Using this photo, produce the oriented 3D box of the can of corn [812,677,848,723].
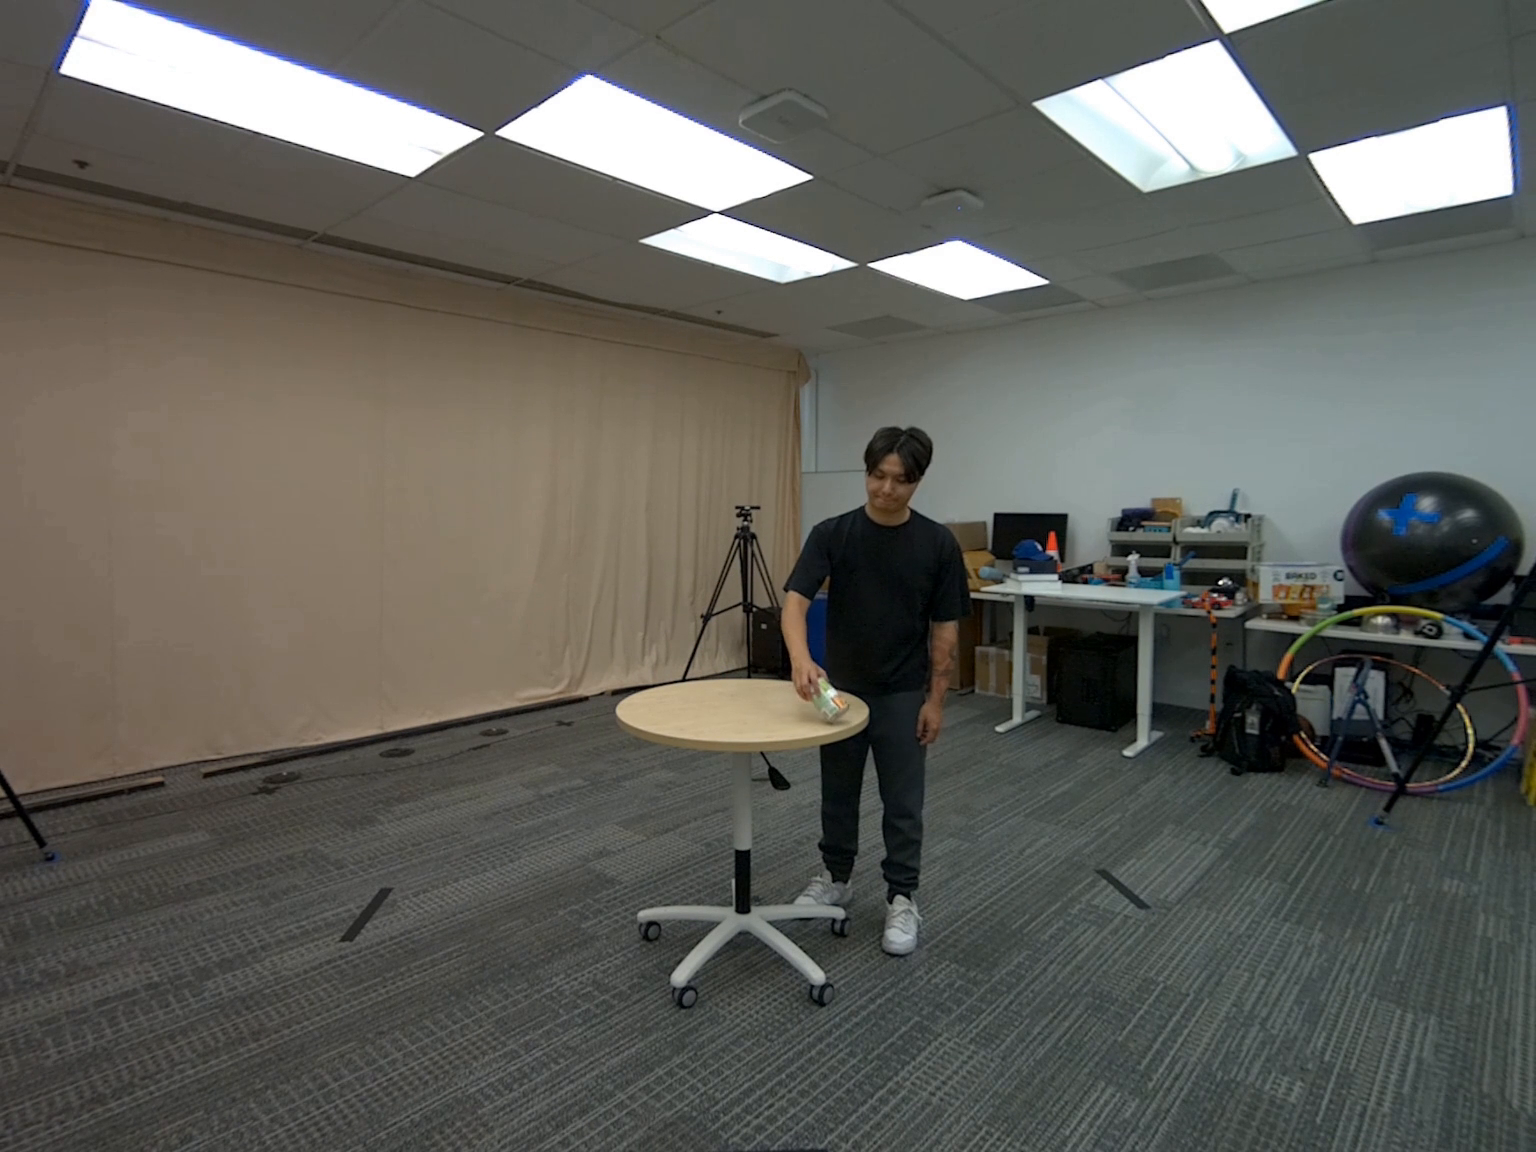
[{"bbox_3d":[0.169,0.354,2.361,0.114,0.074,0.072,49,29,24],"label":"can of corn"}]
